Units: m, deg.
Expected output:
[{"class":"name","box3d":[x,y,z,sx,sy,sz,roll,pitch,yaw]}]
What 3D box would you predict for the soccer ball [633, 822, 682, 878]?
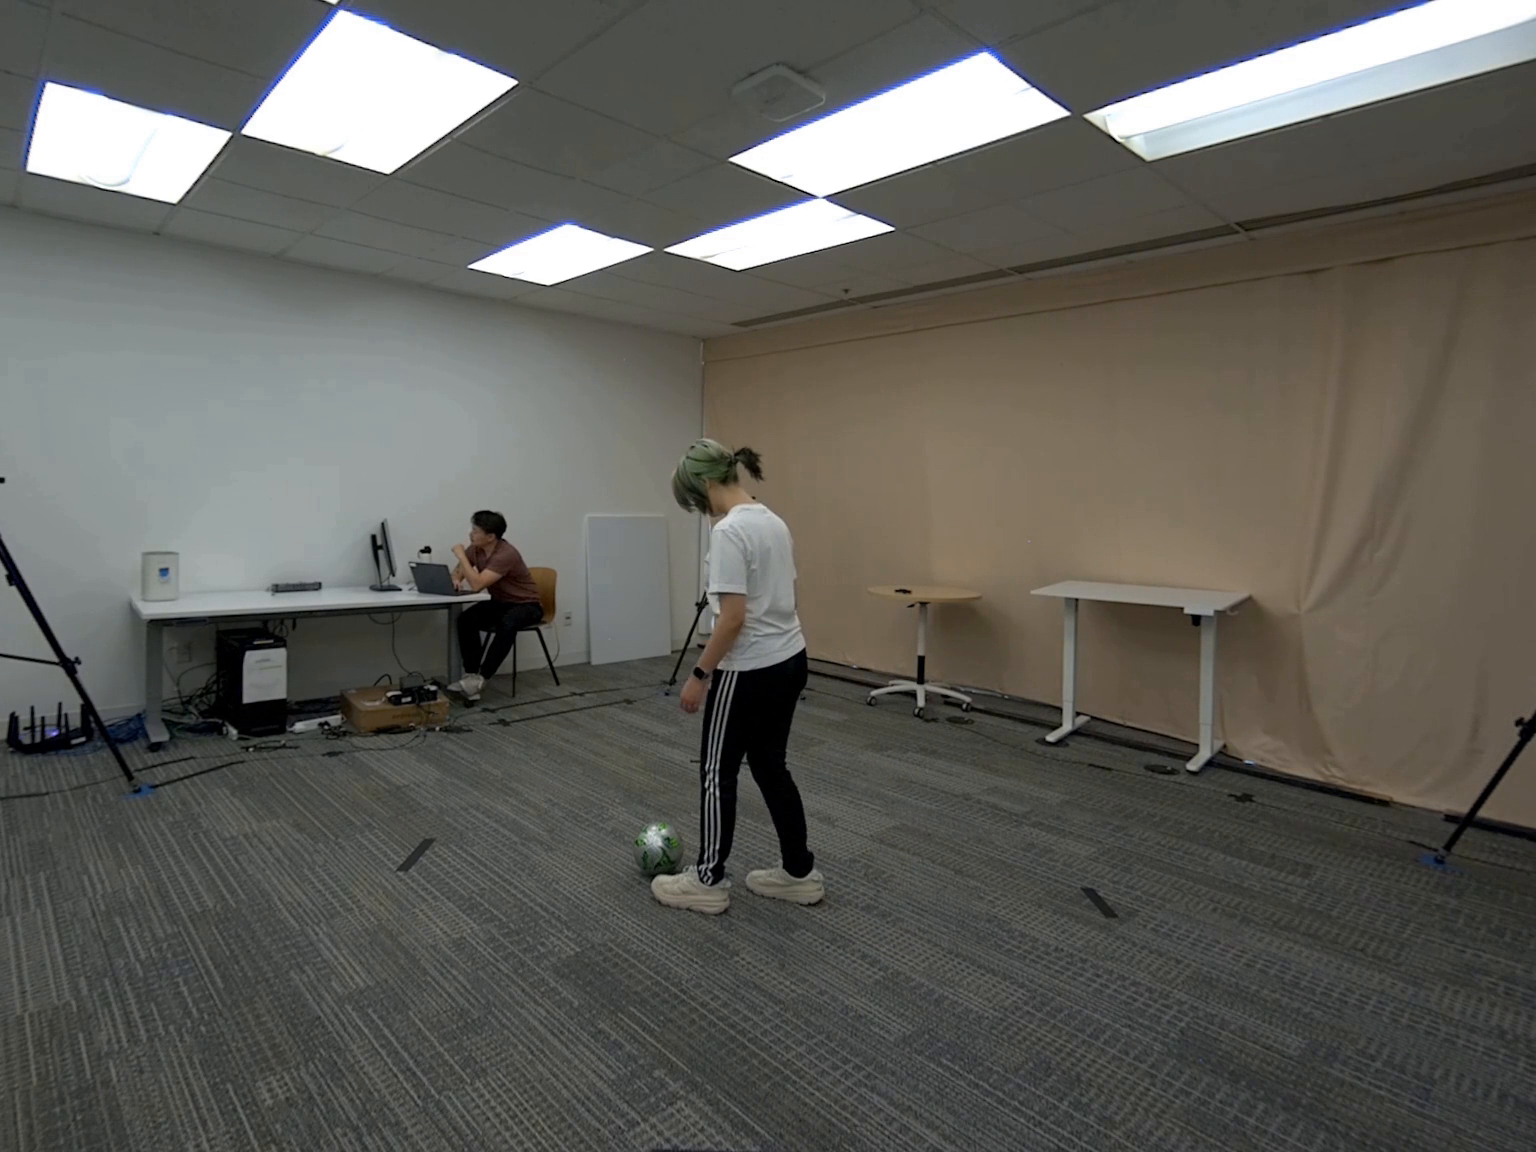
[{"class":"soccer ball","box3d":[-0.413,1.005,3.108,0.187,0.187,0.188,1,4,-1]}]
